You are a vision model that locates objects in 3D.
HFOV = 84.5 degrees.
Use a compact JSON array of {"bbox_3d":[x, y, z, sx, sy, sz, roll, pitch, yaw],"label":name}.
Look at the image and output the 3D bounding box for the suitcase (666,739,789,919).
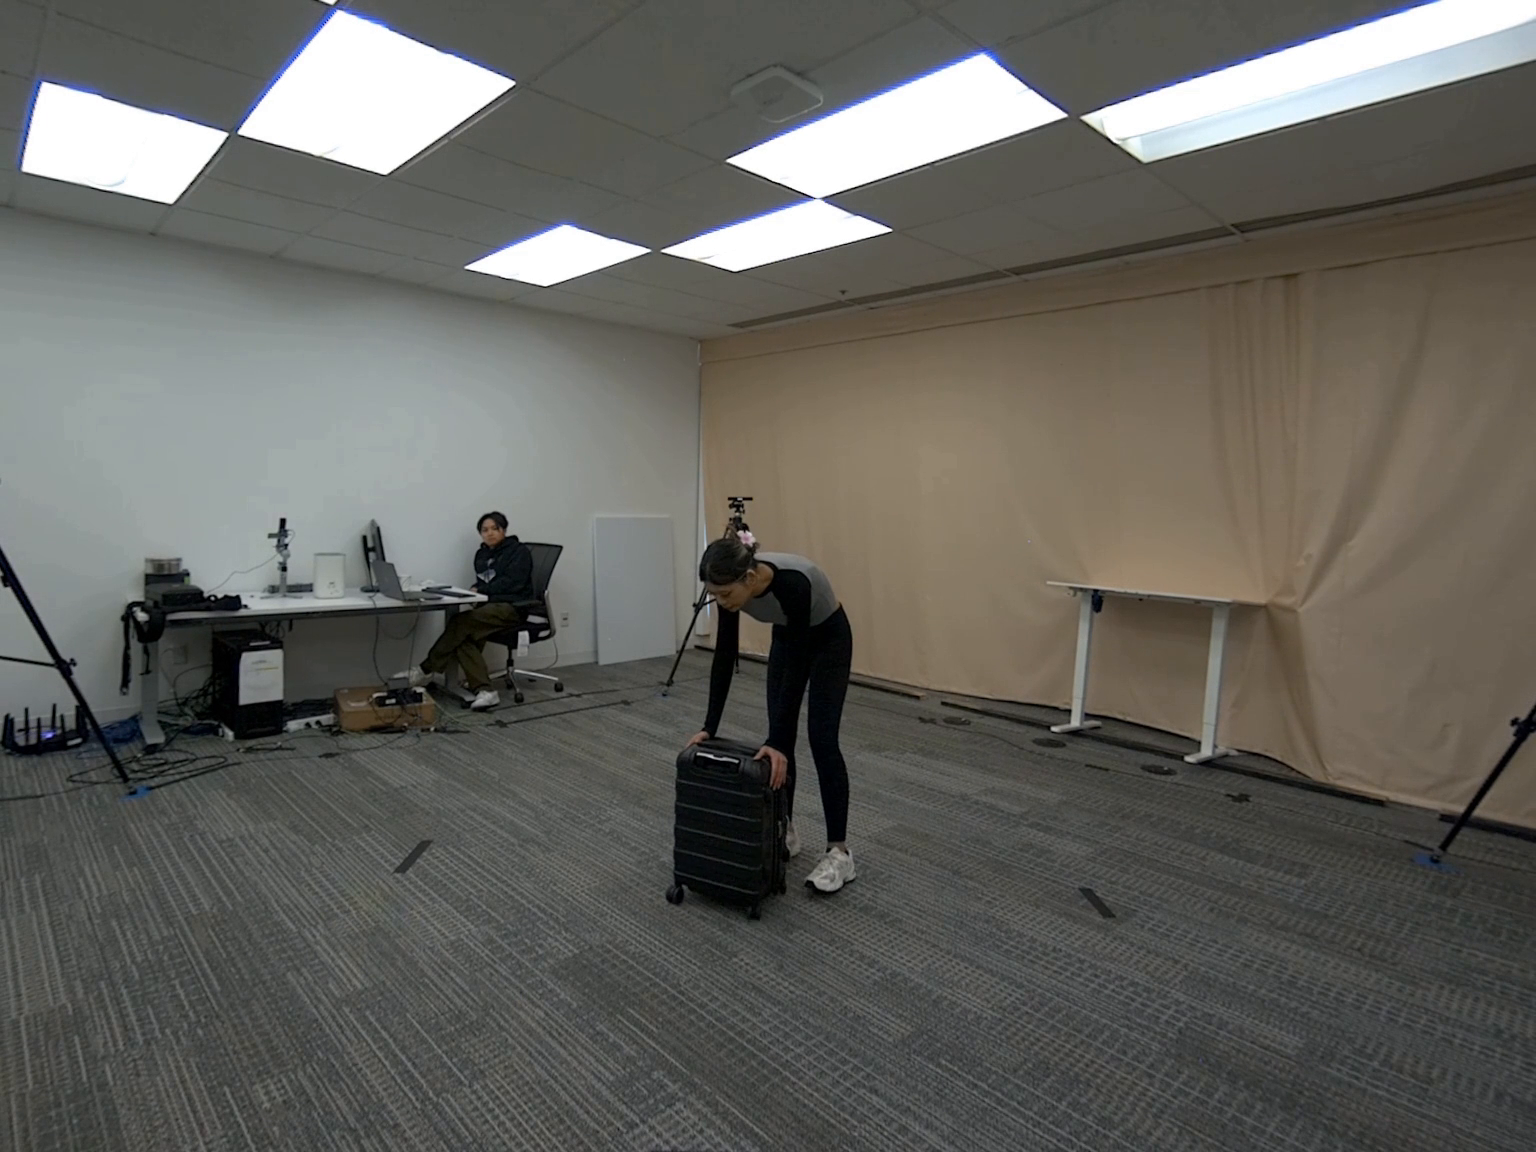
[{"bbox_3d":[-0.140,0.852,2.913,0.383,0.548,0.244,3,4,26],"label":"suitcase"}]
